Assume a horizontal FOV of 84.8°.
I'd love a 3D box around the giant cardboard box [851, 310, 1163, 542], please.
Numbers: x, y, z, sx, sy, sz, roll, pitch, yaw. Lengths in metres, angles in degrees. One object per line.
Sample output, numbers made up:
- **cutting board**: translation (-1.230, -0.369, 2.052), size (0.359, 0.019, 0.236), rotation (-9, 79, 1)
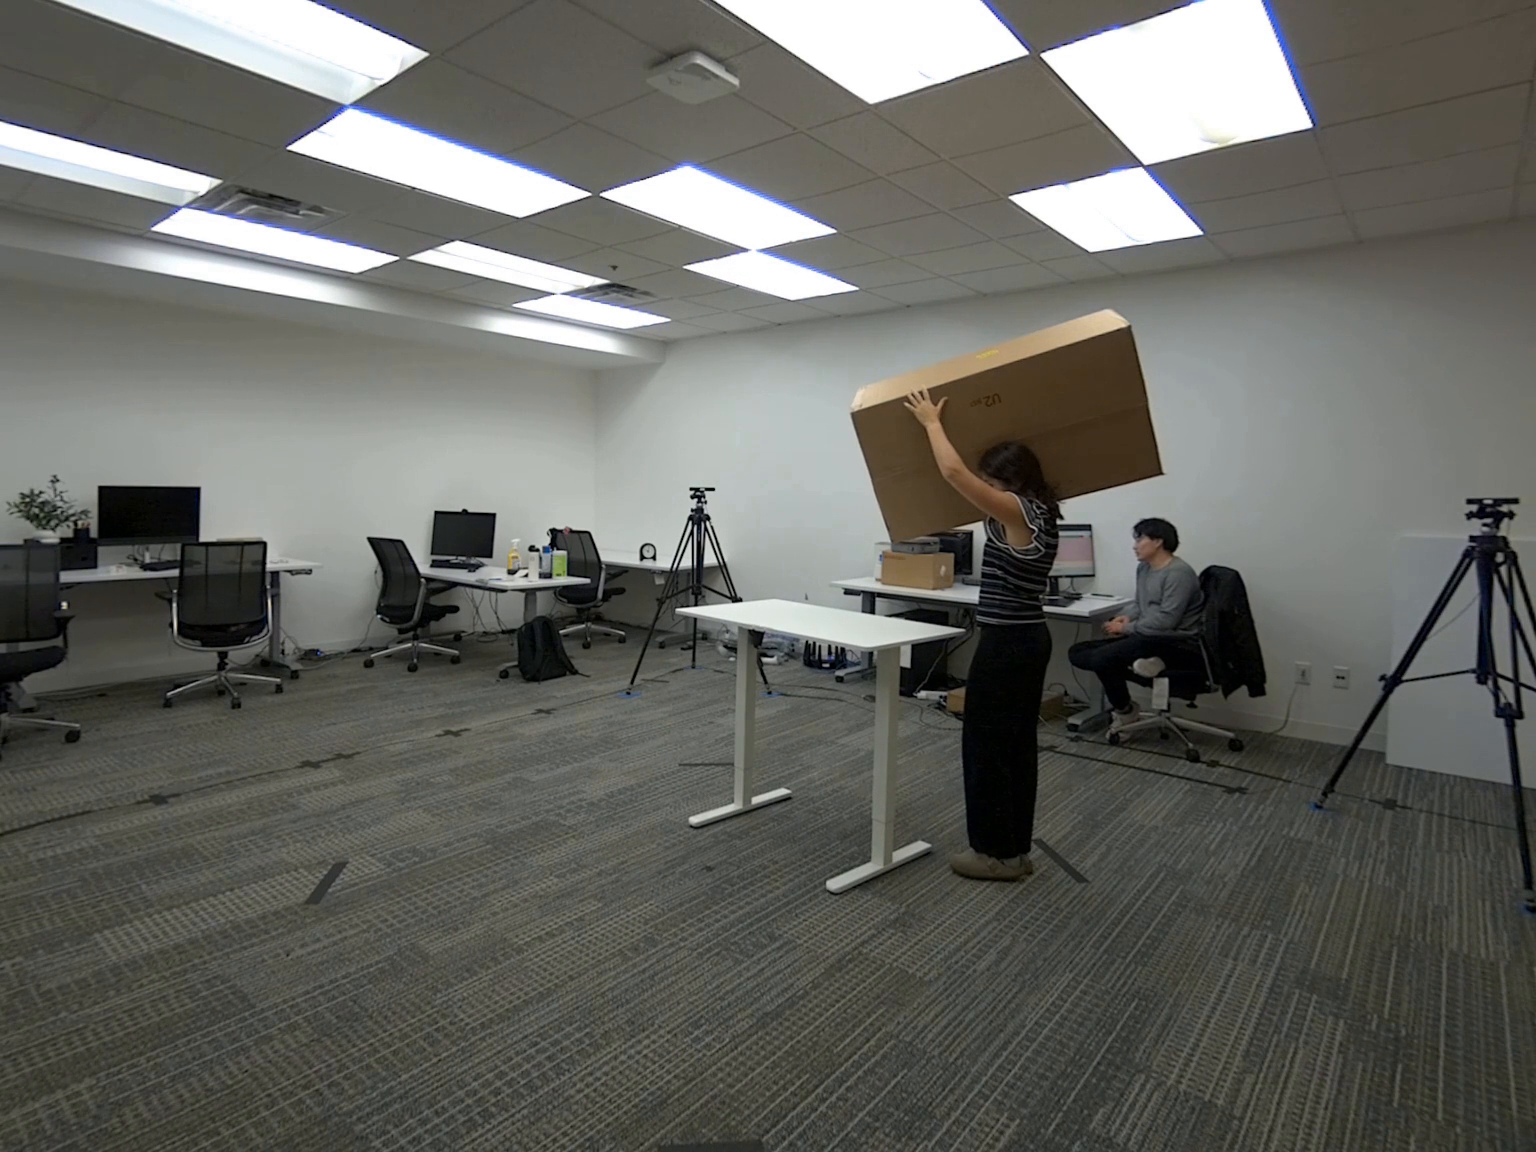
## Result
- **giant cardboard box**: translation (0.907, -0.587, 3.379), size (1.041, 0.565, 0.429), rotation (-14, 19, 20)
